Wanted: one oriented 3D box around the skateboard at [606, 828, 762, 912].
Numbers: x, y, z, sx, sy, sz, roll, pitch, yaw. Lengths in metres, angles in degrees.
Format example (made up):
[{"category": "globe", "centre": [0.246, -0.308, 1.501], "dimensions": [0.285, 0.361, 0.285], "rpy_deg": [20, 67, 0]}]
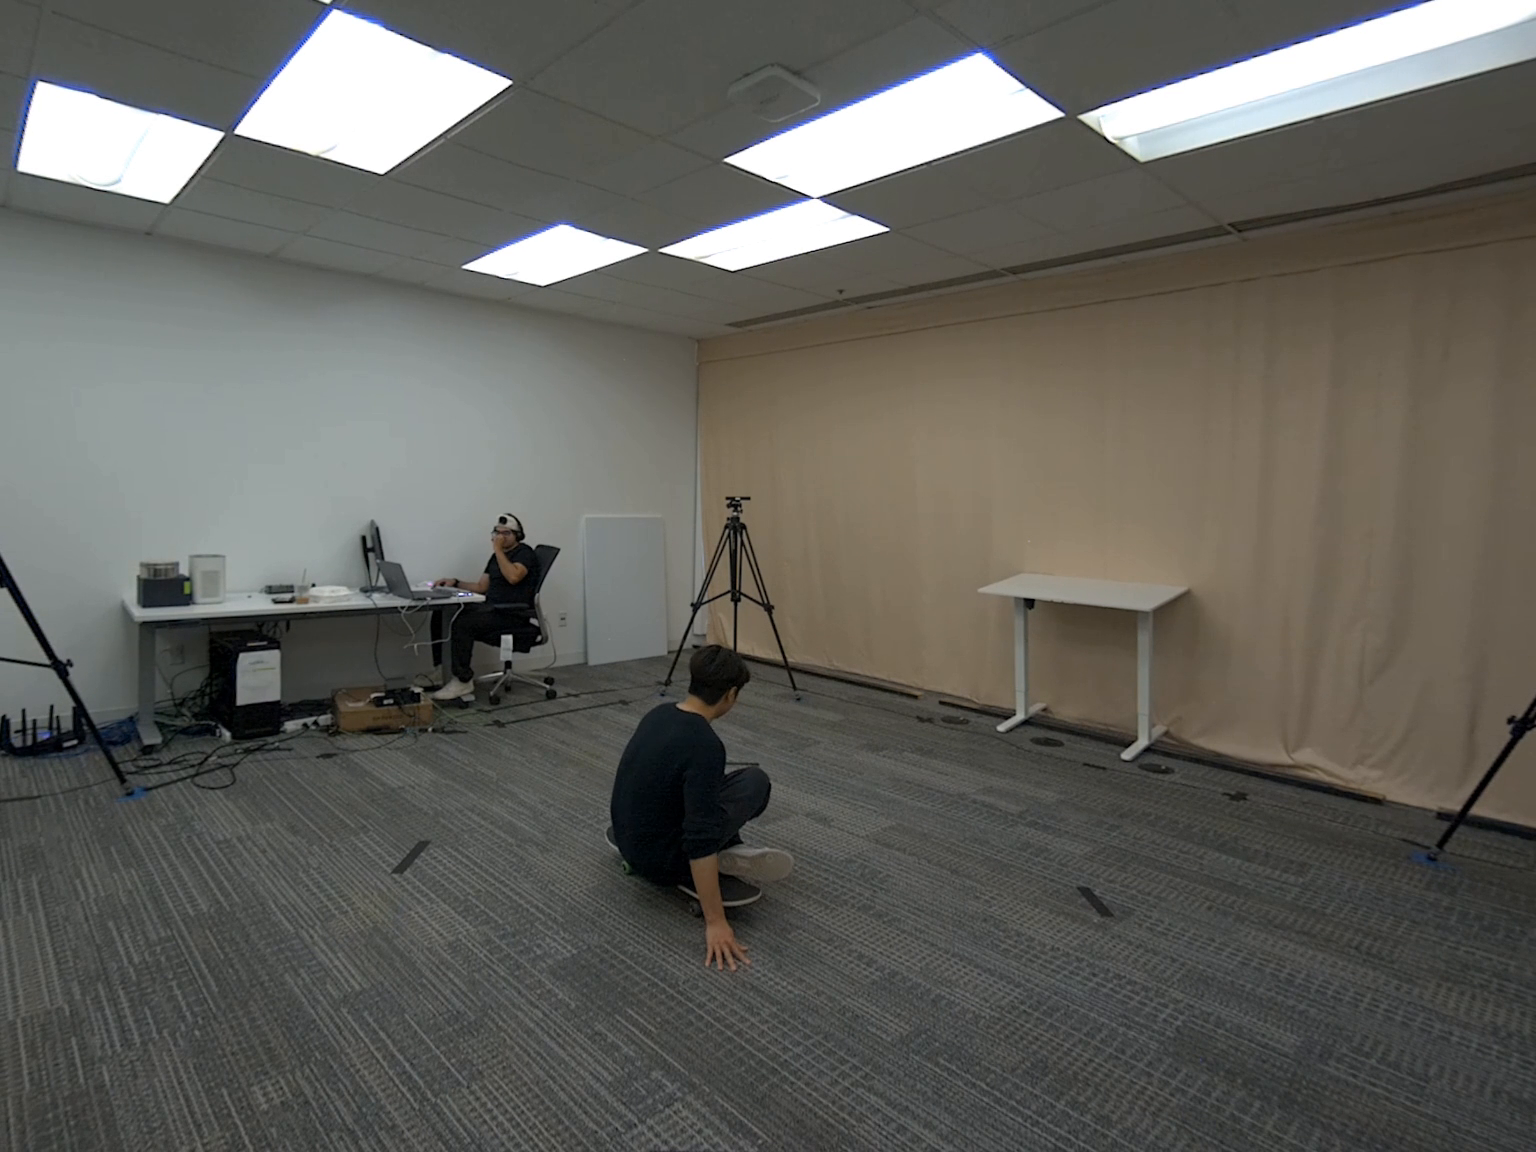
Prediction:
[{"category": "skateboard", "centre": [-0.339, 1.070, 3.001], "dimensions": [0.189, 0.110, 0.806], "rpy_deg": [-1, 7, -43]}]
